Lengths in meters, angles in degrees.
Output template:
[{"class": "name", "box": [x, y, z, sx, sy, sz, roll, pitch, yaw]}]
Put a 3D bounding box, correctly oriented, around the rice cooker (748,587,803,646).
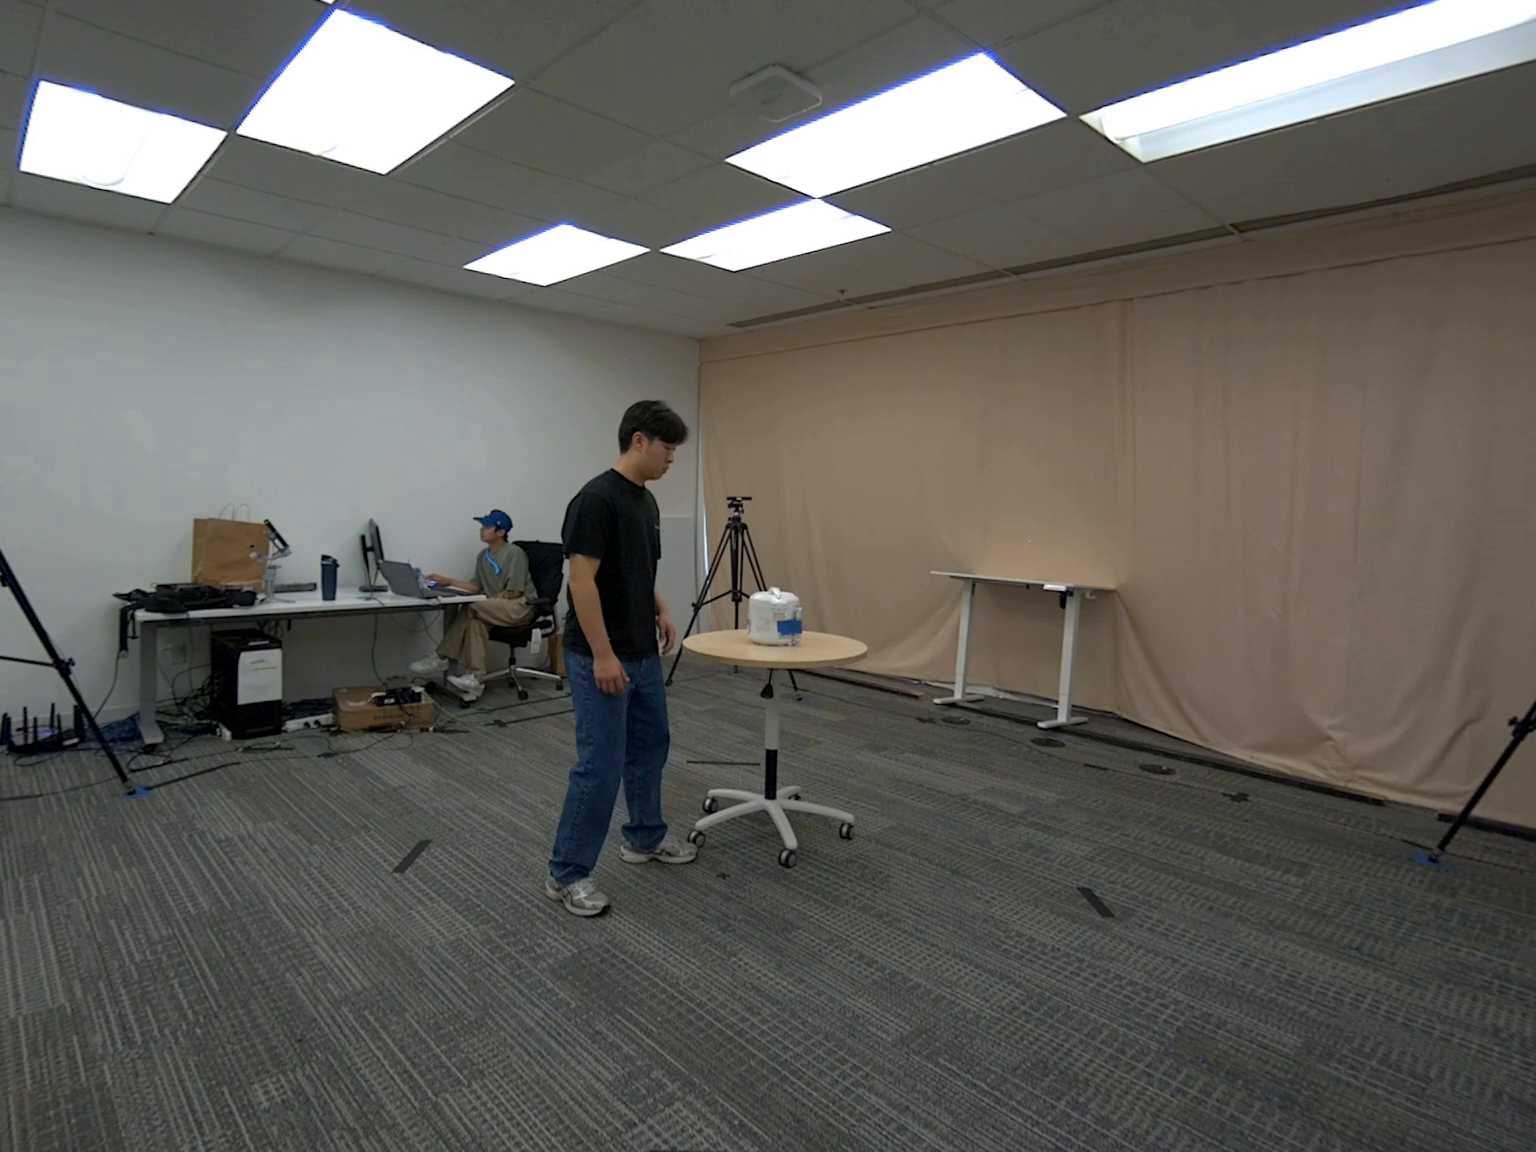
[{"class": "rice cooker", "box": [0.020, 0.167, 3.518, 0.216, 0.232, 0.223, 1, 3, -9]}]
